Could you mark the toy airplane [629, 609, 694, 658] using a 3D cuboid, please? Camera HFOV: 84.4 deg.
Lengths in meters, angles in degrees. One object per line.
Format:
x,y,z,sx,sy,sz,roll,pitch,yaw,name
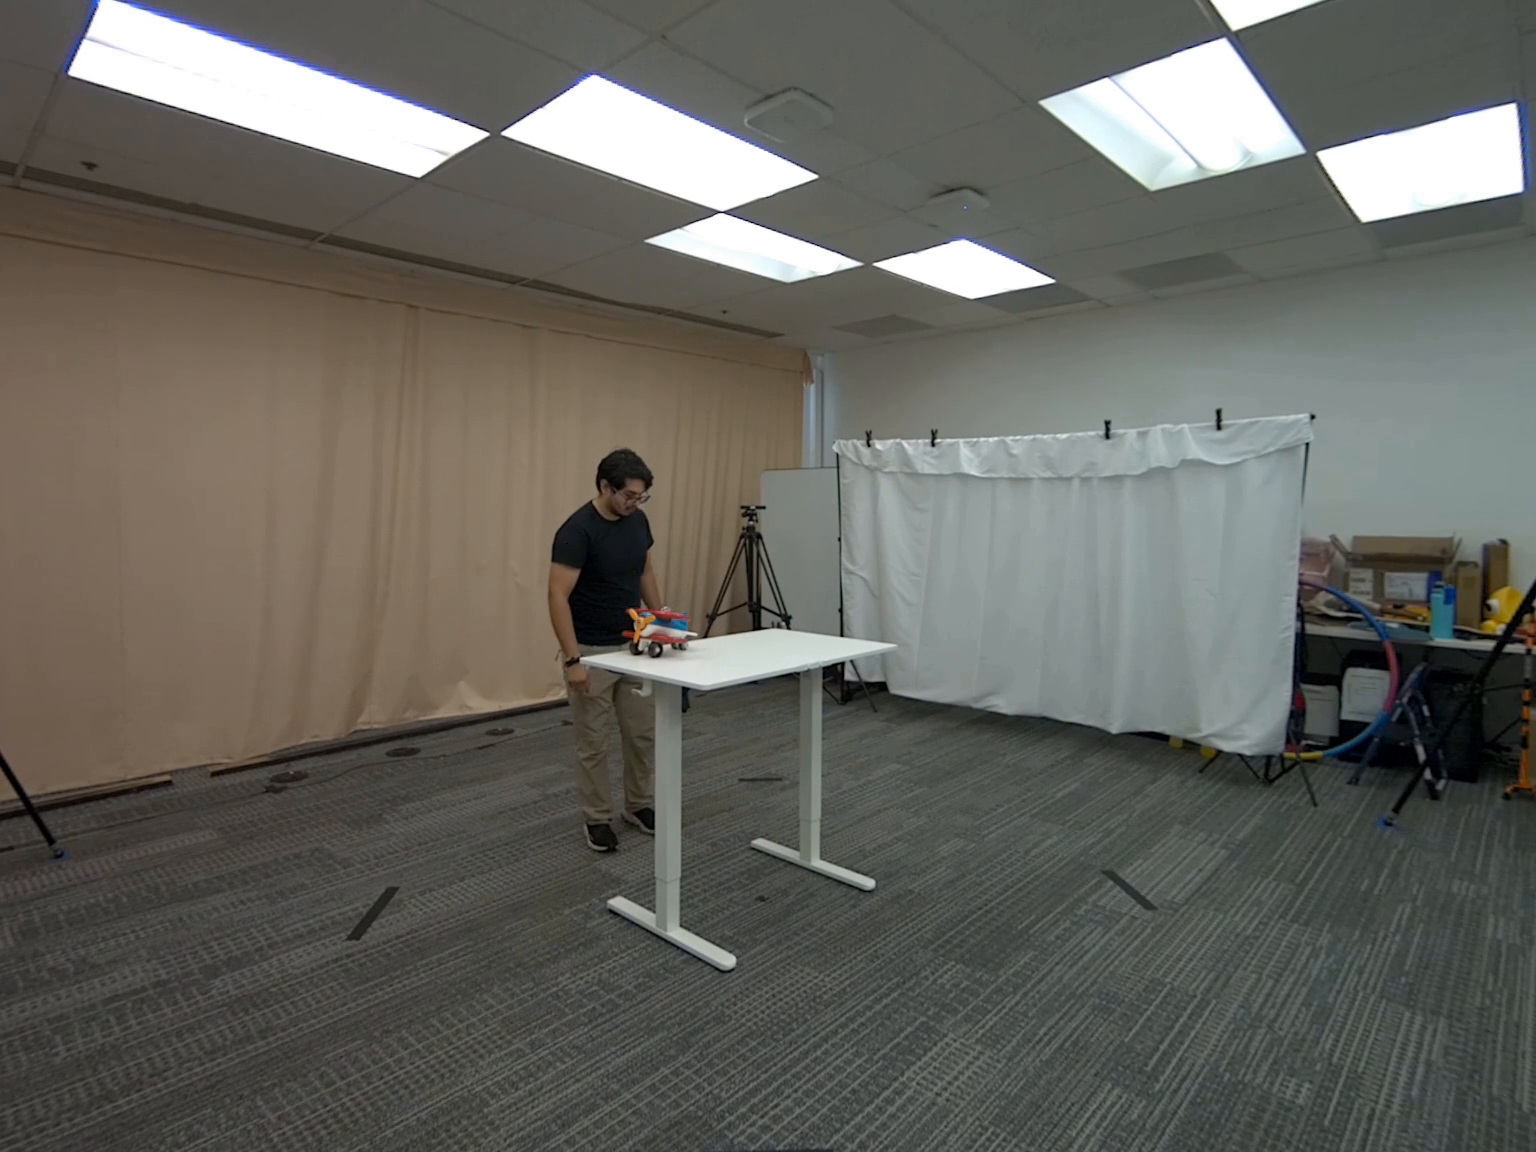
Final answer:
-0.377,0.188,2.909,0.253,0.156,0.257,2,5,7,toy airplane
